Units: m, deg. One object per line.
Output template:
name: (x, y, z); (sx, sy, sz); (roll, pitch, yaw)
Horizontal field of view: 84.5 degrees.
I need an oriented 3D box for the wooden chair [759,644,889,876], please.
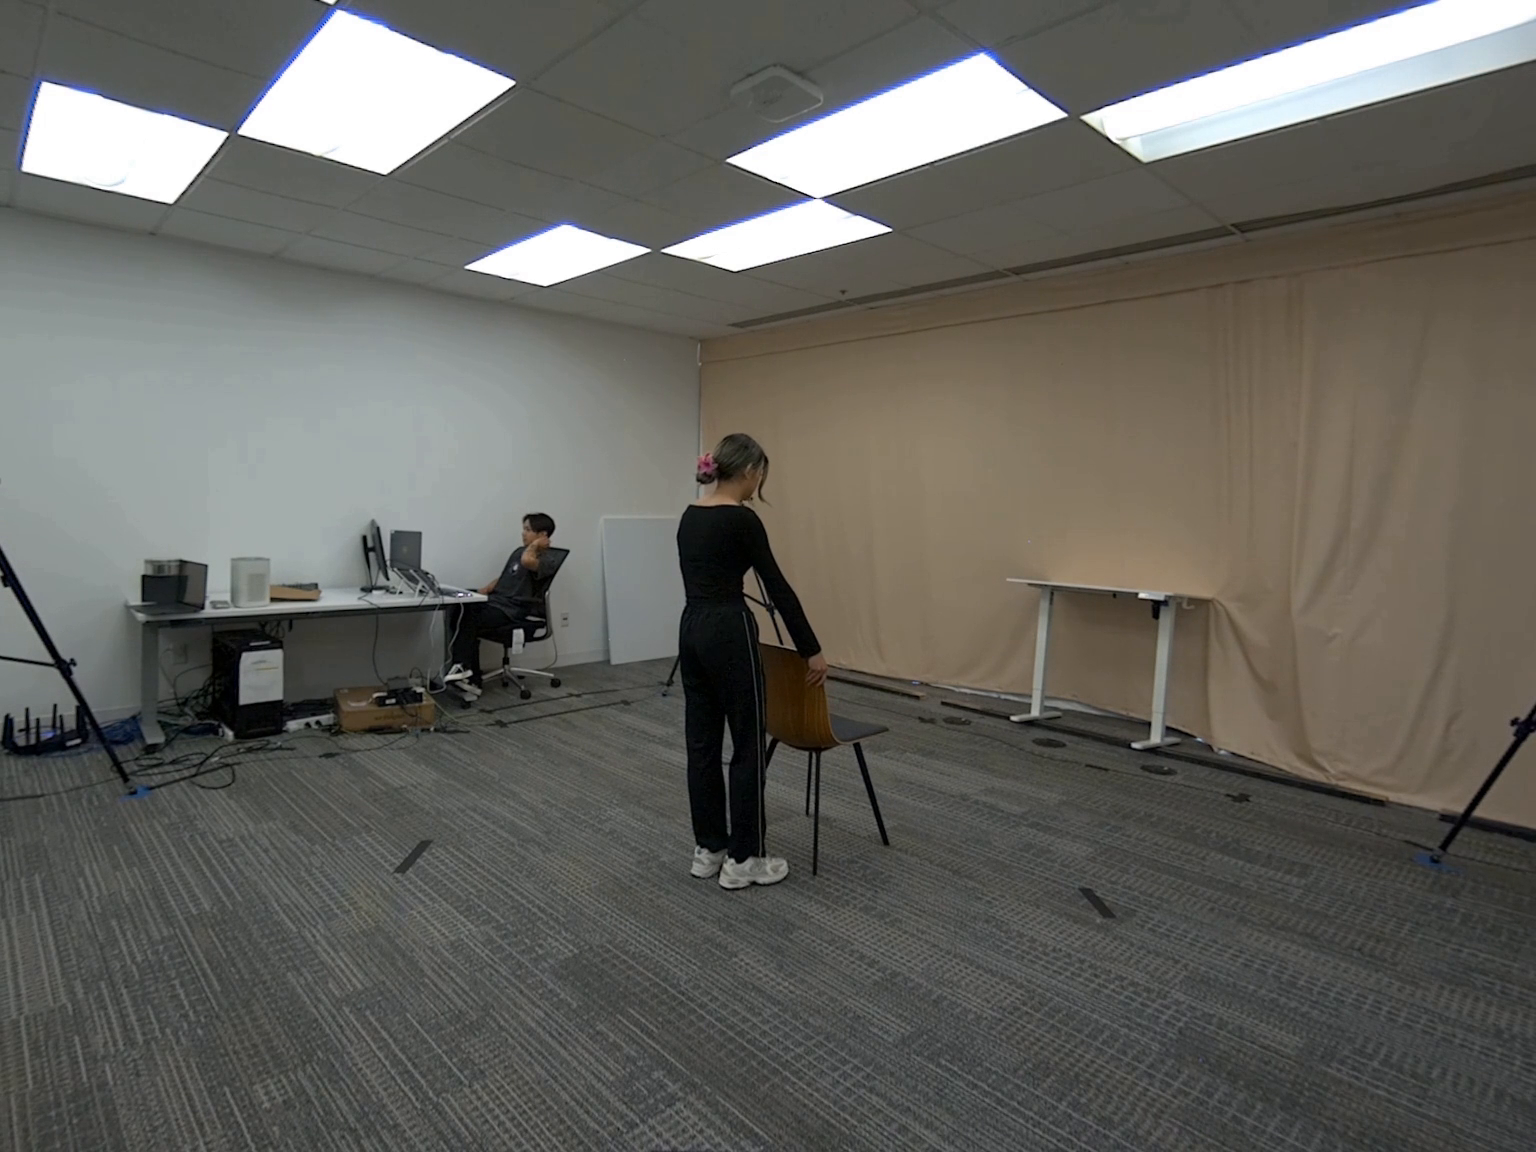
wooden chair: (0.188, 0.663, 3.418); (0.512, 0.873, 0.490); (-7, 8, -43)
